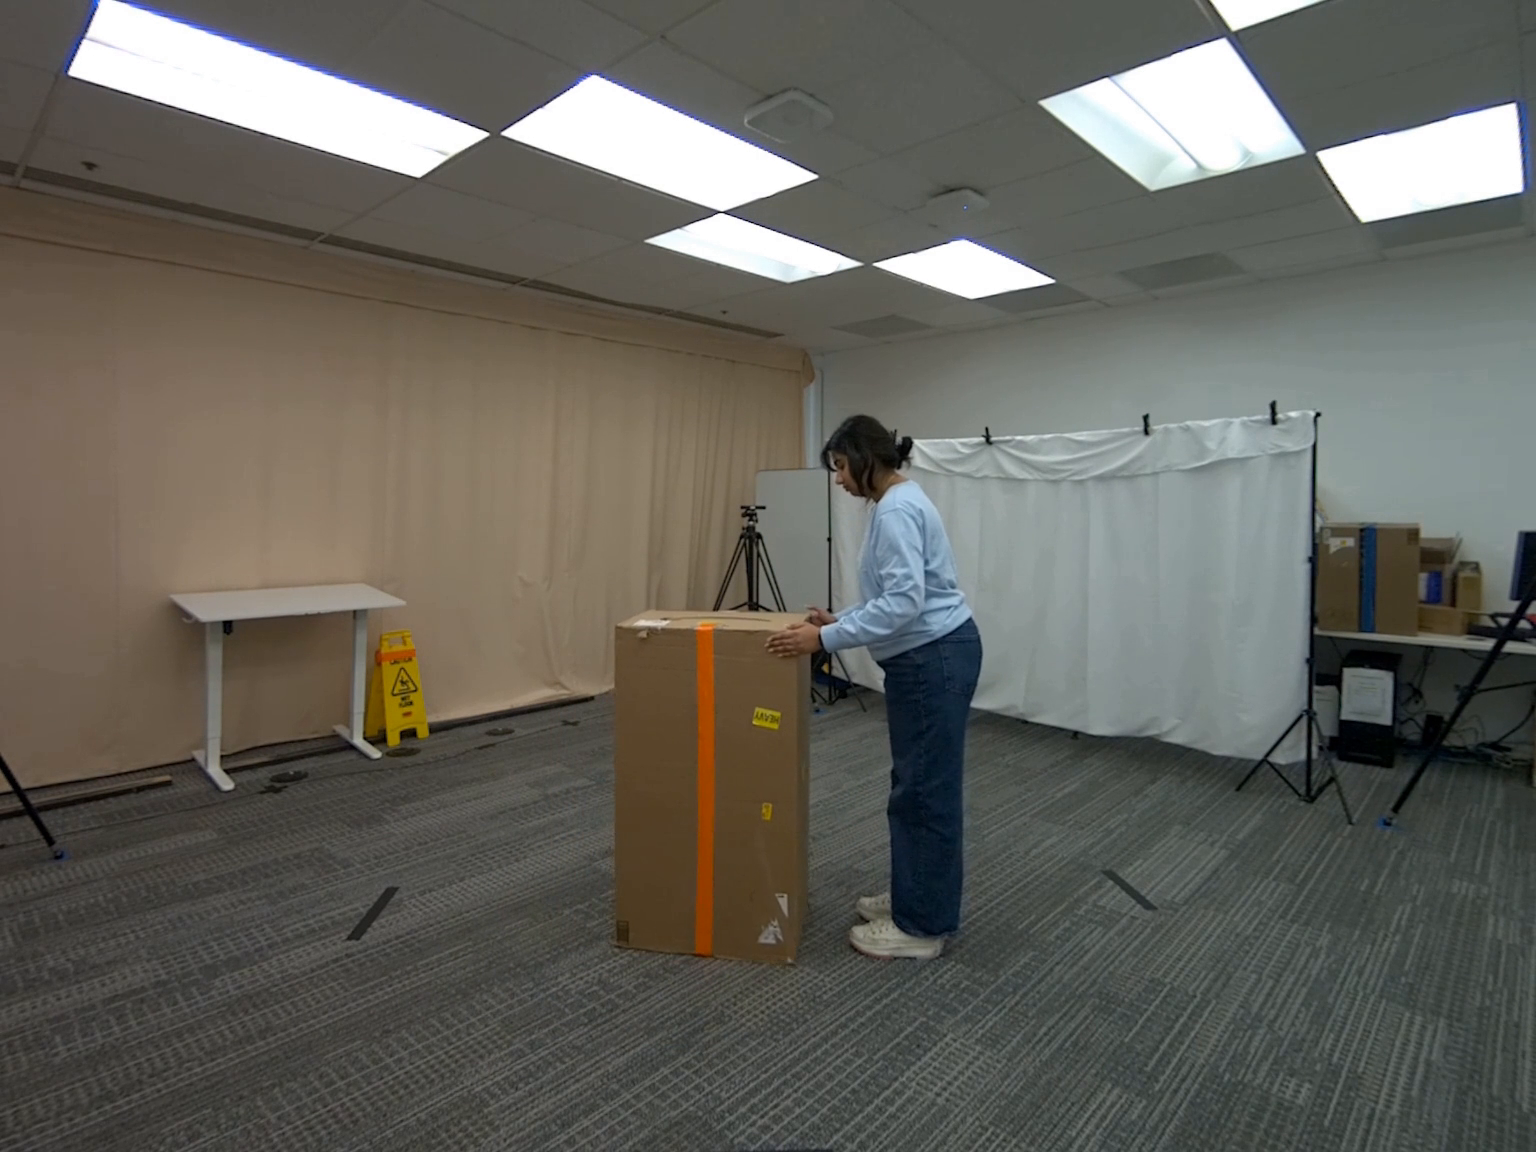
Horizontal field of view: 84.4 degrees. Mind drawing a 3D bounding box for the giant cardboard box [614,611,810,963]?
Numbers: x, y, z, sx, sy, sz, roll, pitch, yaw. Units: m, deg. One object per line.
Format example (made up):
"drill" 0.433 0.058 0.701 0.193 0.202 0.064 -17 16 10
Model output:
"giant cardboard box" -0.169 0.651 2.786 0.585 1.024 0.422 1 3 10
